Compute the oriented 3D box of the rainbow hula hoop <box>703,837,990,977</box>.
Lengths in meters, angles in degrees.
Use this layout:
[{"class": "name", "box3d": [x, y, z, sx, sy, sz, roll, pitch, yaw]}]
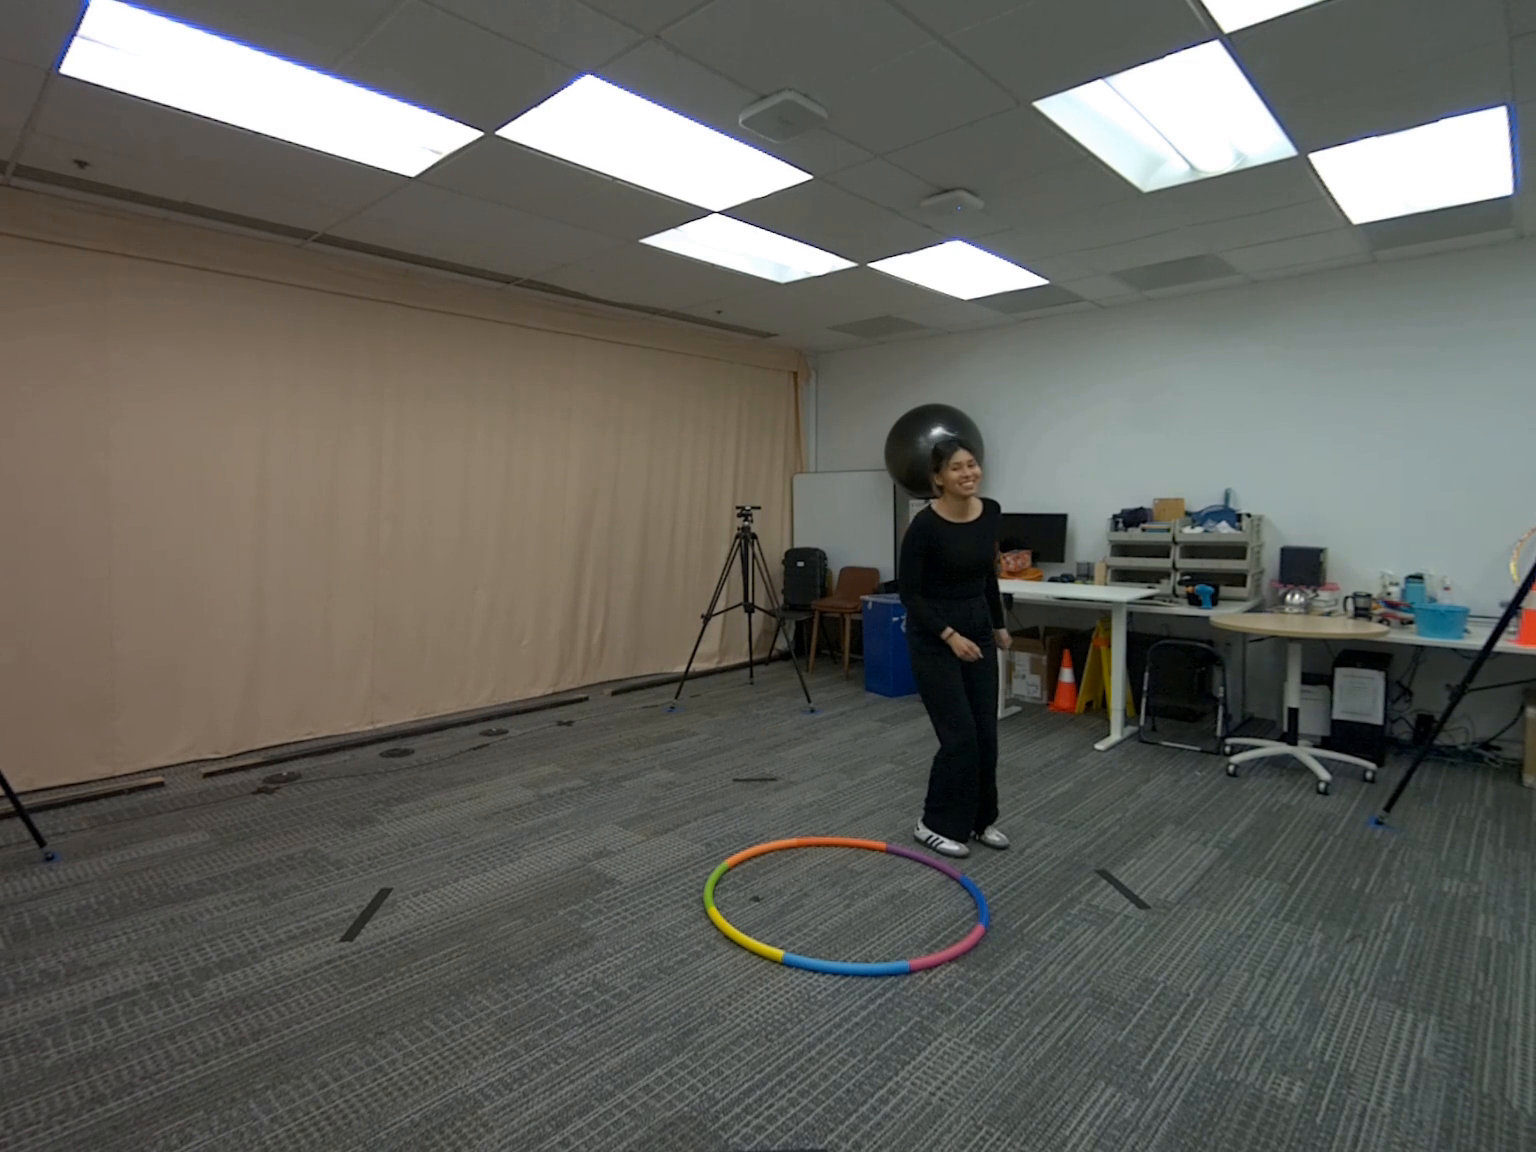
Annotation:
[{"class": "rainbow hula hoop", "box3d": [0.264, 1.116, 2.972, 0.978, 0.035, 0.982, -1, 5, -2]}]
